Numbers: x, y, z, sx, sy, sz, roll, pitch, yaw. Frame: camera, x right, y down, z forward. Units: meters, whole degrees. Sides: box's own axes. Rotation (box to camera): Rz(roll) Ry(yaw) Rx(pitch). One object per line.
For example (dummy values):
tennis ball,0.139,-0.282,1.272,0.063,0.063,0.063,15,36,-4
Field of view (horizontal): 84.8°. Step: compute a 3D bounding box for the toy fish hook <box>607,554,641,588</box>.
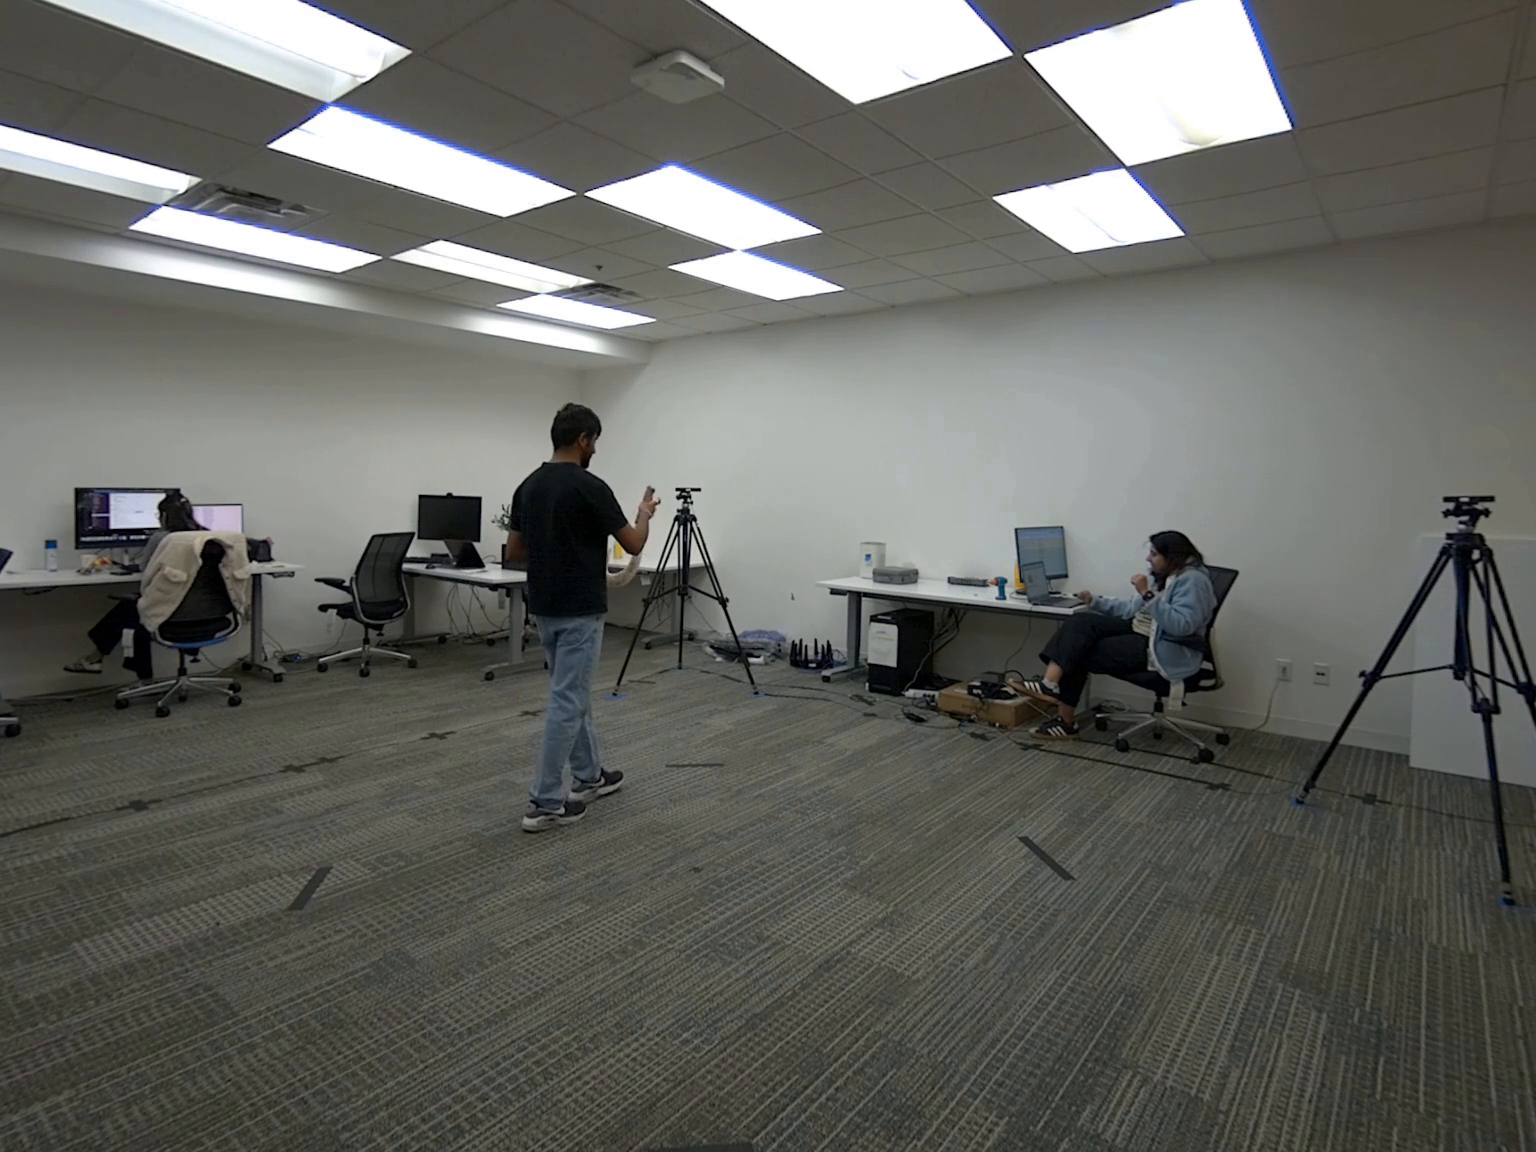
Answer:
toy fish hook,-0.653,-0.189,3.834,0.230,0.515,0.046,-4,-28,29
